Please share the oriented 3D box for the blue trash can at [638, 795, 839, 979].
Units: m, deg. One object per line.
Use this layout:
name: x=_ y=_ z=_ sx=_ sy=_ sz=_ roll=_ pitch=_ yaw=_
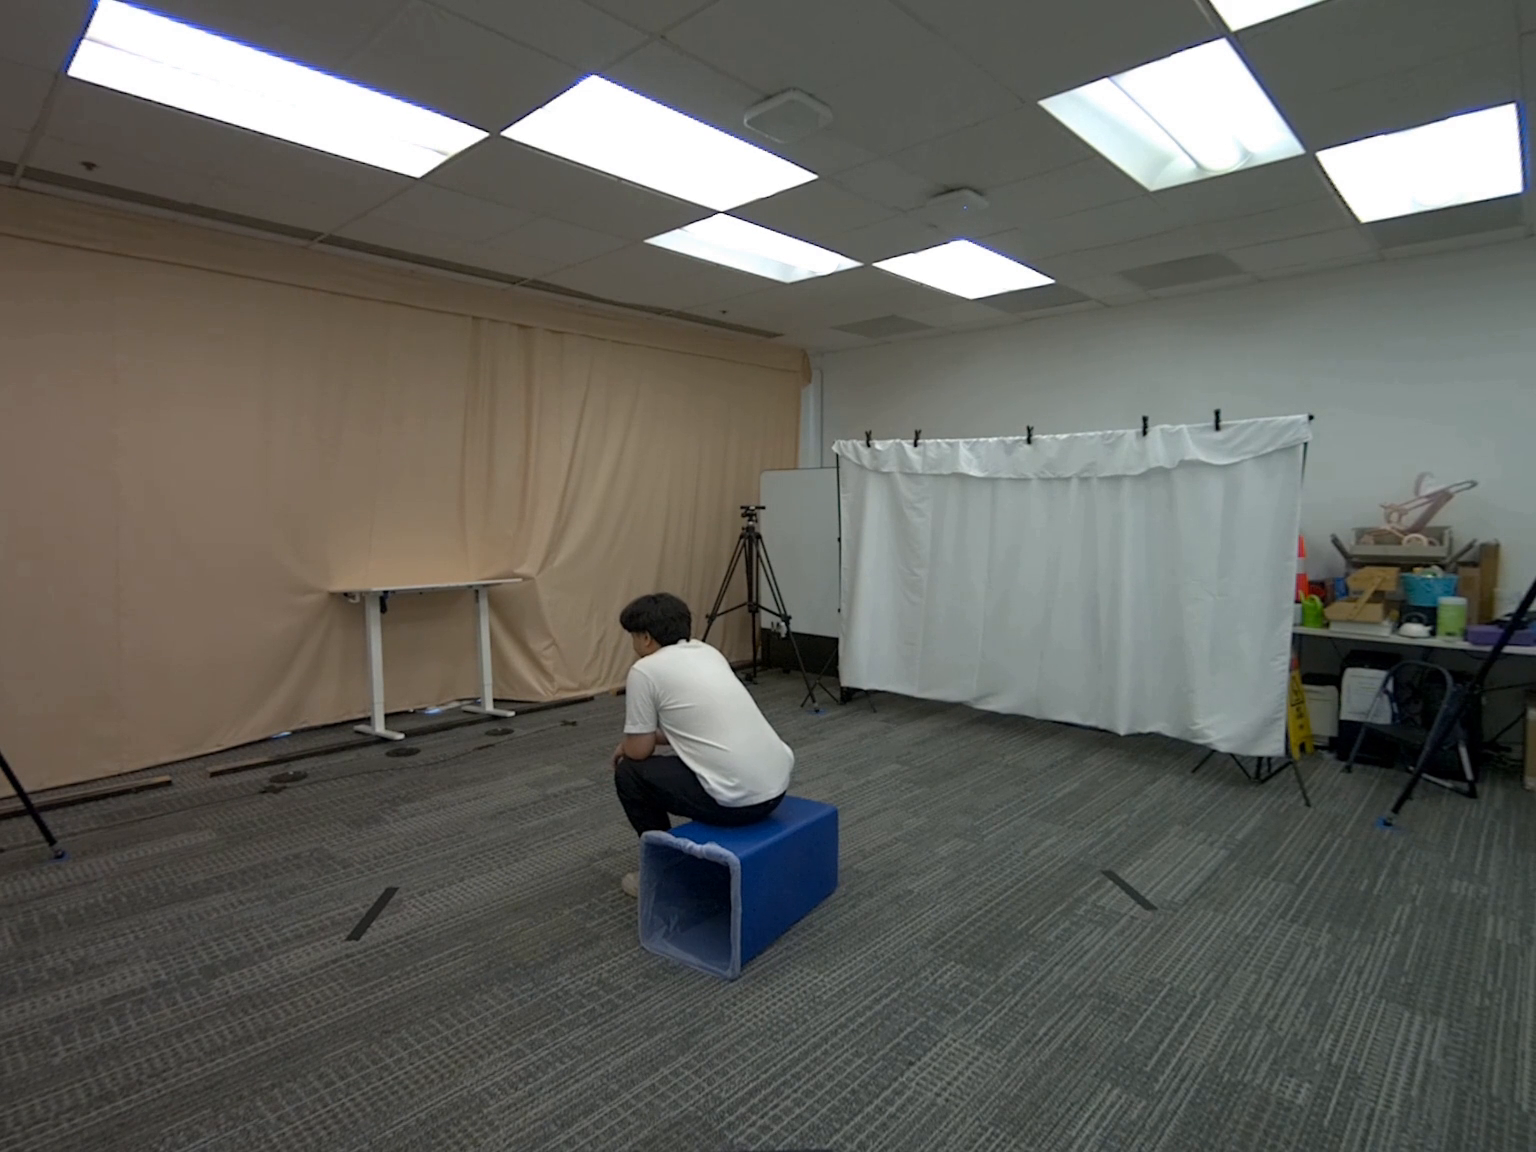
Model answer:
blue trash can: x=-0.056 y=0.993 z=2.840 sx=0.389 sy=0.374 sz=0.692 roll=0 pitch=0 yaw=34
